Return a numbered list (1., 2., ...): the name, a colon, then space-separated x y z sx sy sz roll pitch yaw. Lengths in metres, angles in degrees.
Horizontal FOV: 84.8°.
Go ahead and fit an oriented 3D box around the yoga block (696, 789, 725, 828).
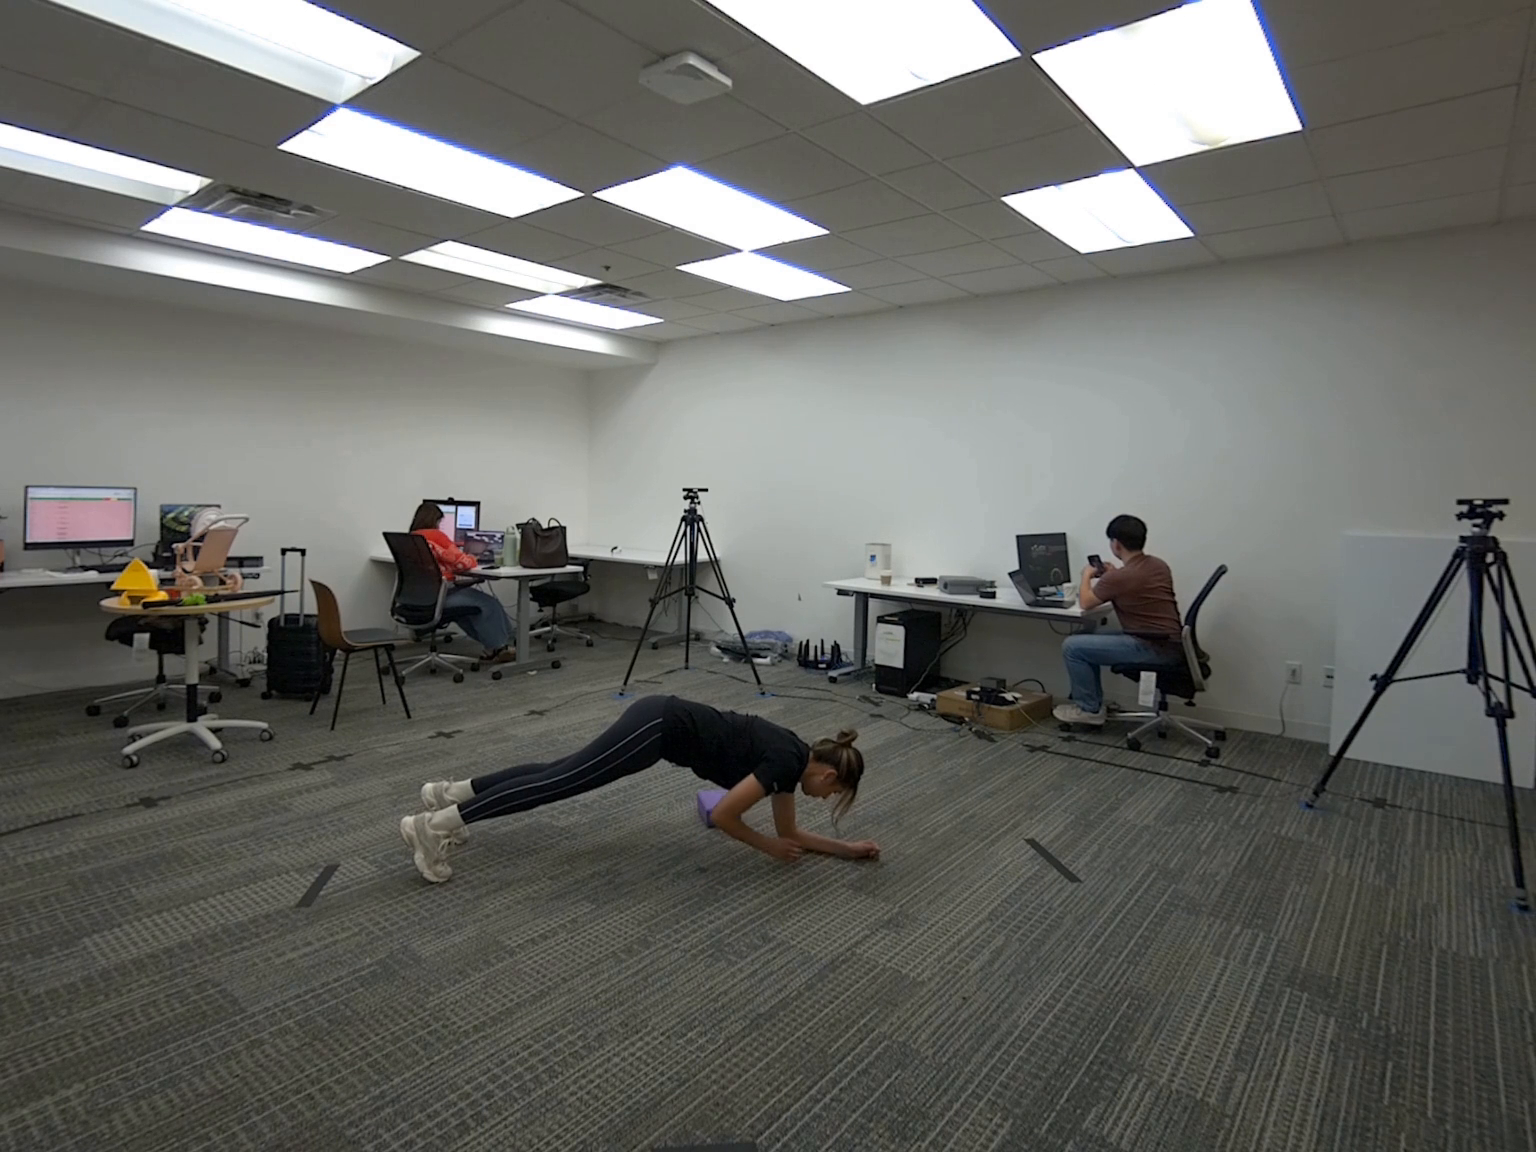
1. yoga block: -0.218 0.976 3.614 0.147 0.076 0.233 0 6 -14
